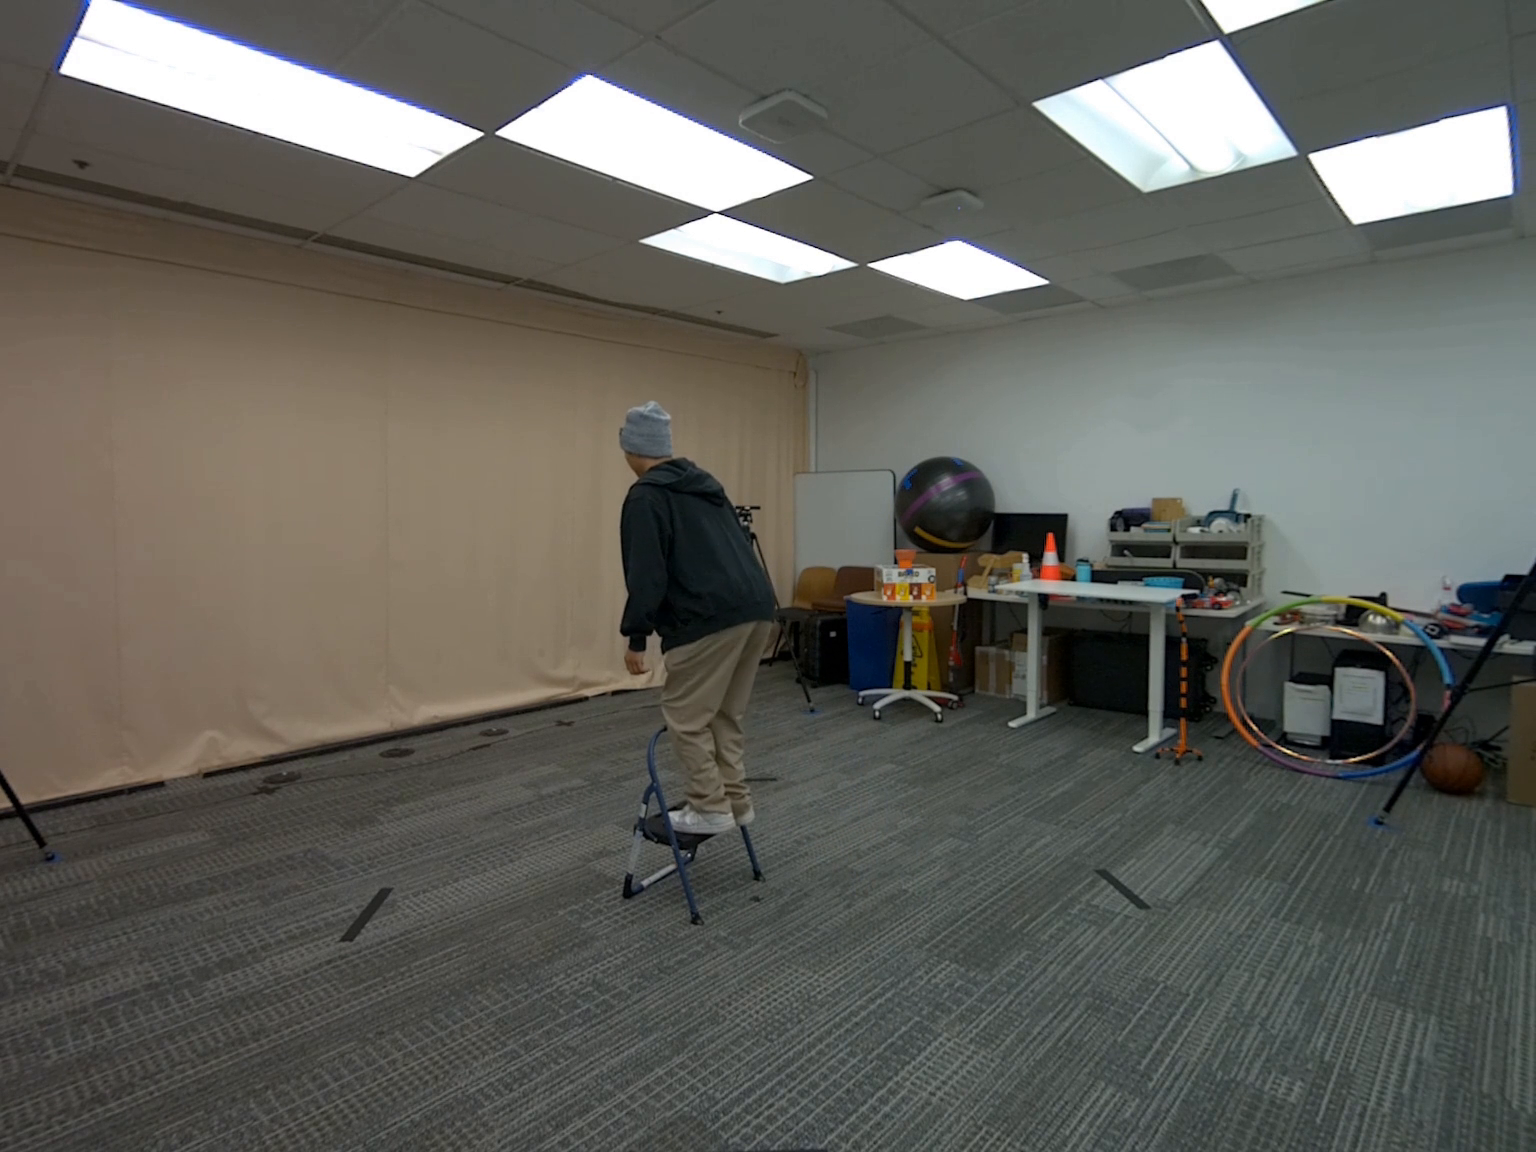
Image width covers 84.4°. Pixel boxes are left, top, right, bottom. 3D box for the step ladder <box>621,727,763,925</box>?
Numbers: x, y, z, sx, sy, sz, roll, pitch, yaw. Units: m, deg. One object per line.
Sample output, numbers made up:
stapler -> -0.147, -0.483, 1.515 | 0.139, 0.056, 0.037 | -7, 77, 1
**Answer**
step ladder -> -0.270, 0.840, 3.058 | 0.360, 0.605, 0.419 | 1, 3, 32
